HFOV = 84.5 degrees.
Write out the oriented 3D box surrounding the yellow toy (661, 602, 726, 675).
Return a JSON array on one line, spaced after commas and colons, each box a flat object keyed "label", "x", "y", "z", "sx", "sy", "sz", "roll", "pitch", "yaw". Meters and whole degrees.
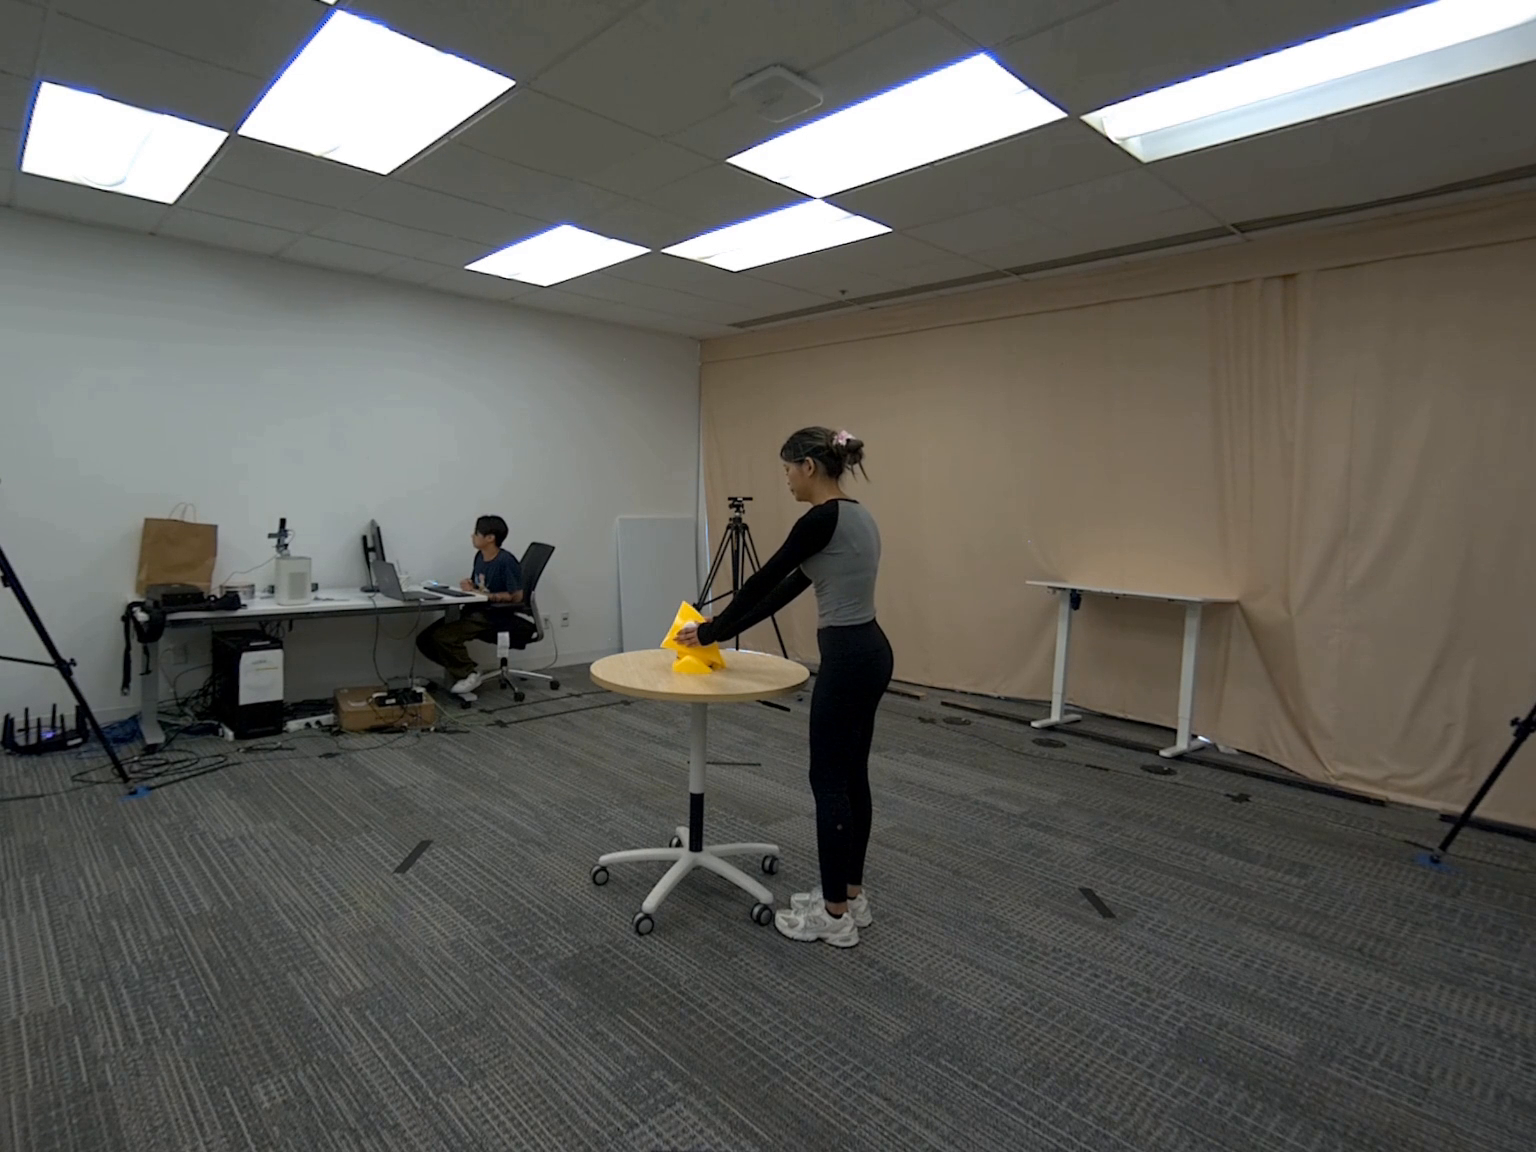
[{"label": "yellow toy", "x": -0.256, "y": 0.211, "z": 2.968, "sx": 0.197, "sy": 0.230, "sz": 0.201, "roll": 3, "pitch": 5, "yaw": 24}]
